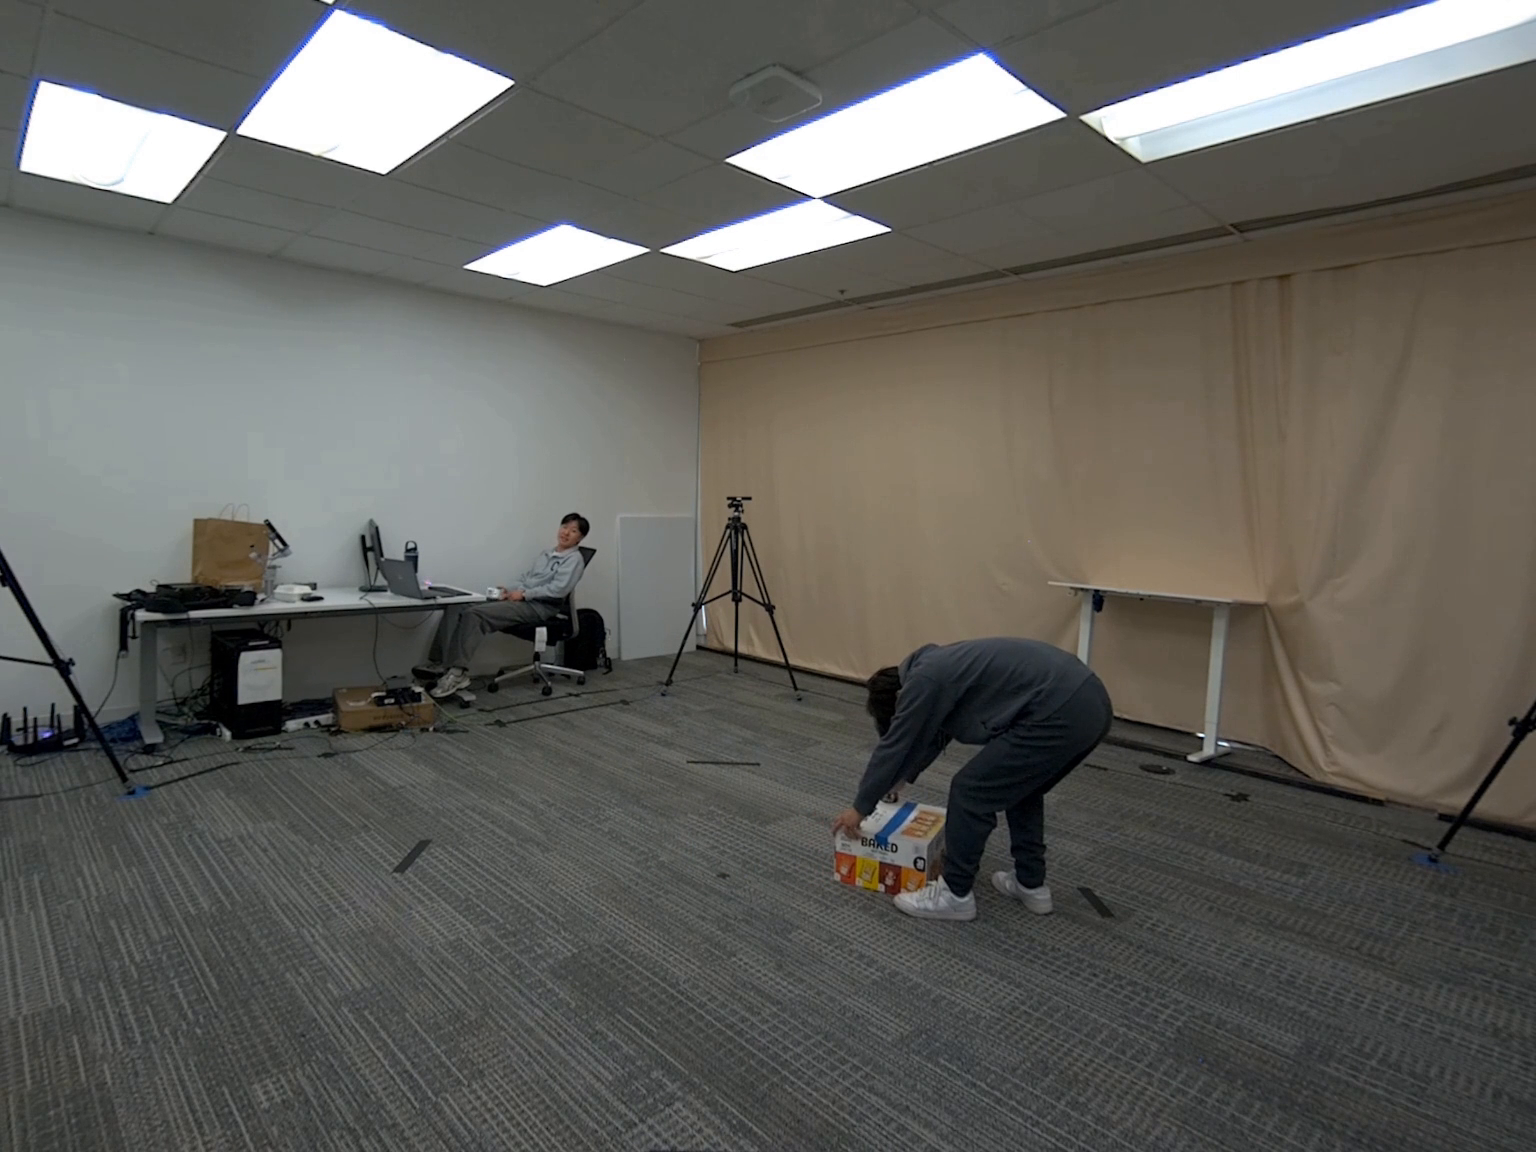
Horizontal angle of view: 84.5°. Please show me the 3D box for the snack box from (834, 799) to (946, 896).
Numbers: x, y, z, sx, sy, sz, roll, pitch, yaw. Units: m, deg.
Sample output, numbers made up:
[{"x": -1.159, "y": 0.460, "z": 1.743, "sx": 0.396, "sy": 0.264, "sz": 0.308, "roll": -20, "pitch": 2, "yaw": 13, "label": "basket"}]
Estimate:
[{"x": 0.477, "y": 1.015, "z": 3.181, "sx": 0.347, "sy": 0.205, "sz": 0.398, "roll": 4, "pitch": 5, "yaw": 27, "label": "snack box"}]
